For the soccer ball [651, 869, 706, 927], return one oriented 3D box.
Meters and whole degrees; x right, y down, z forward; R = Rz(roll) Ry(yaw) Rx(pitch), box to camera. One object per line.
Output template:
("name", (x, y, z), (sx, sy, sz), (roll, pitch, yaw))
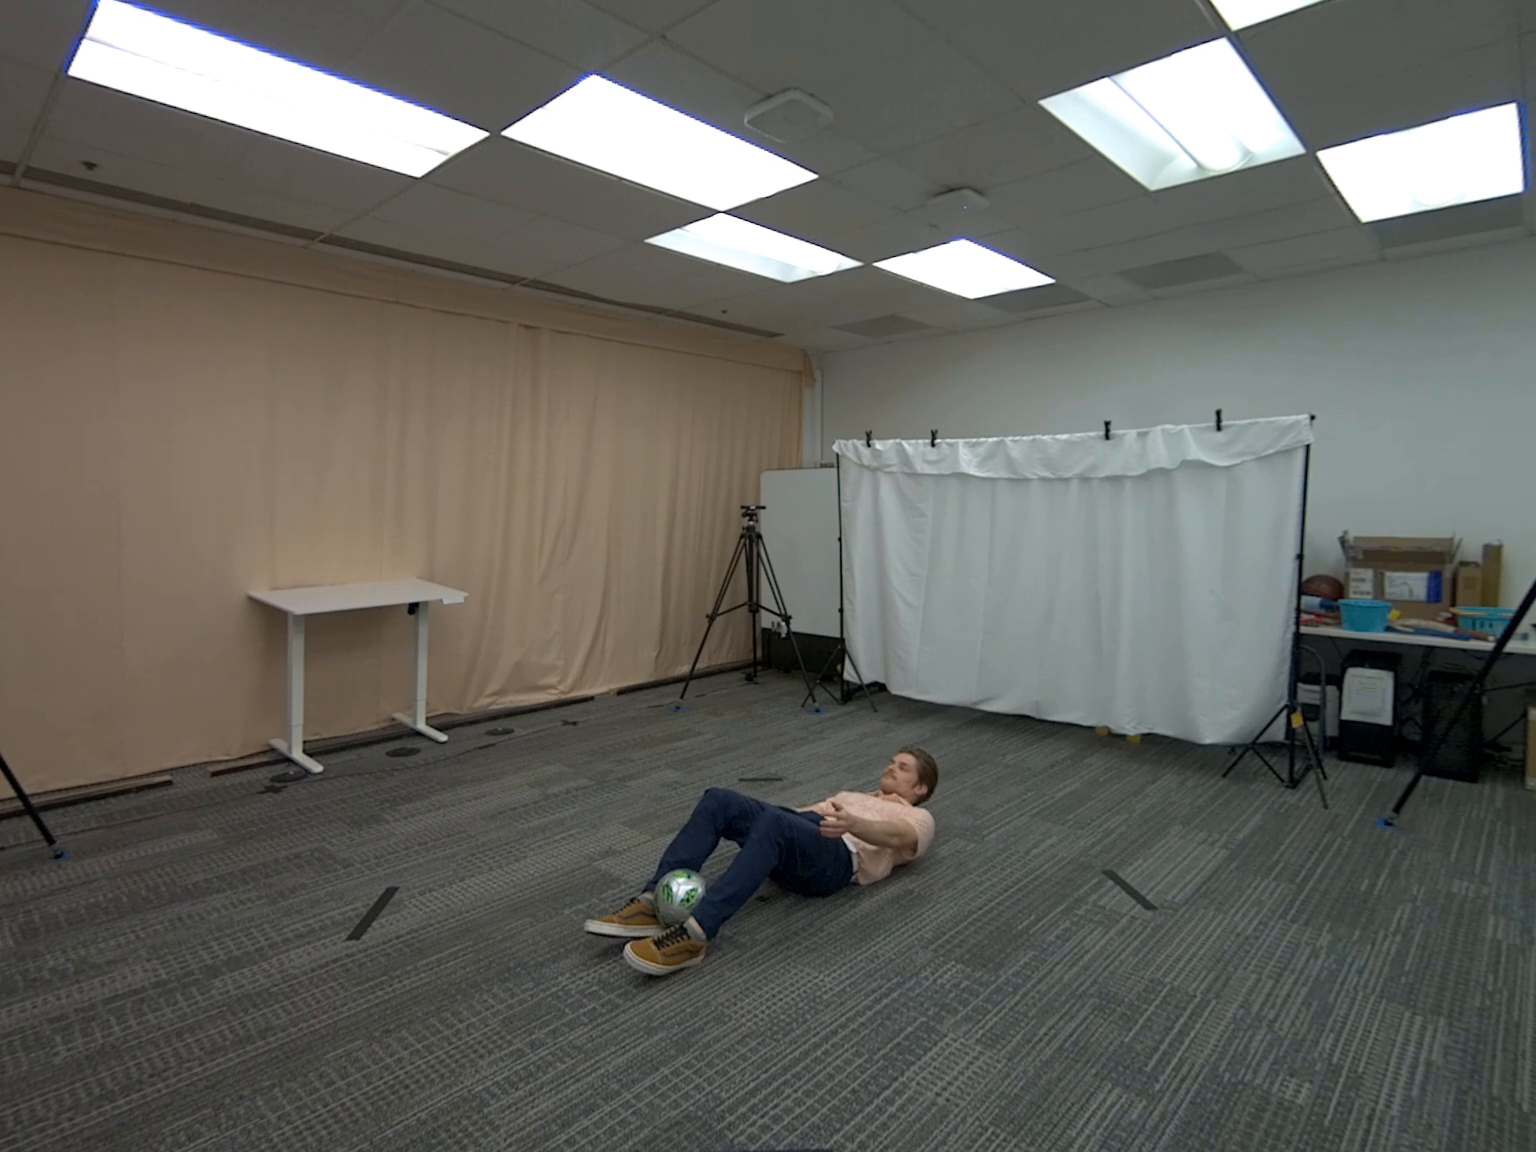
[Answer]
("soccer ball", (-0.269, 1.025, 2.683), (0.187, 0.187, 0.188), (0, 4, -2))
